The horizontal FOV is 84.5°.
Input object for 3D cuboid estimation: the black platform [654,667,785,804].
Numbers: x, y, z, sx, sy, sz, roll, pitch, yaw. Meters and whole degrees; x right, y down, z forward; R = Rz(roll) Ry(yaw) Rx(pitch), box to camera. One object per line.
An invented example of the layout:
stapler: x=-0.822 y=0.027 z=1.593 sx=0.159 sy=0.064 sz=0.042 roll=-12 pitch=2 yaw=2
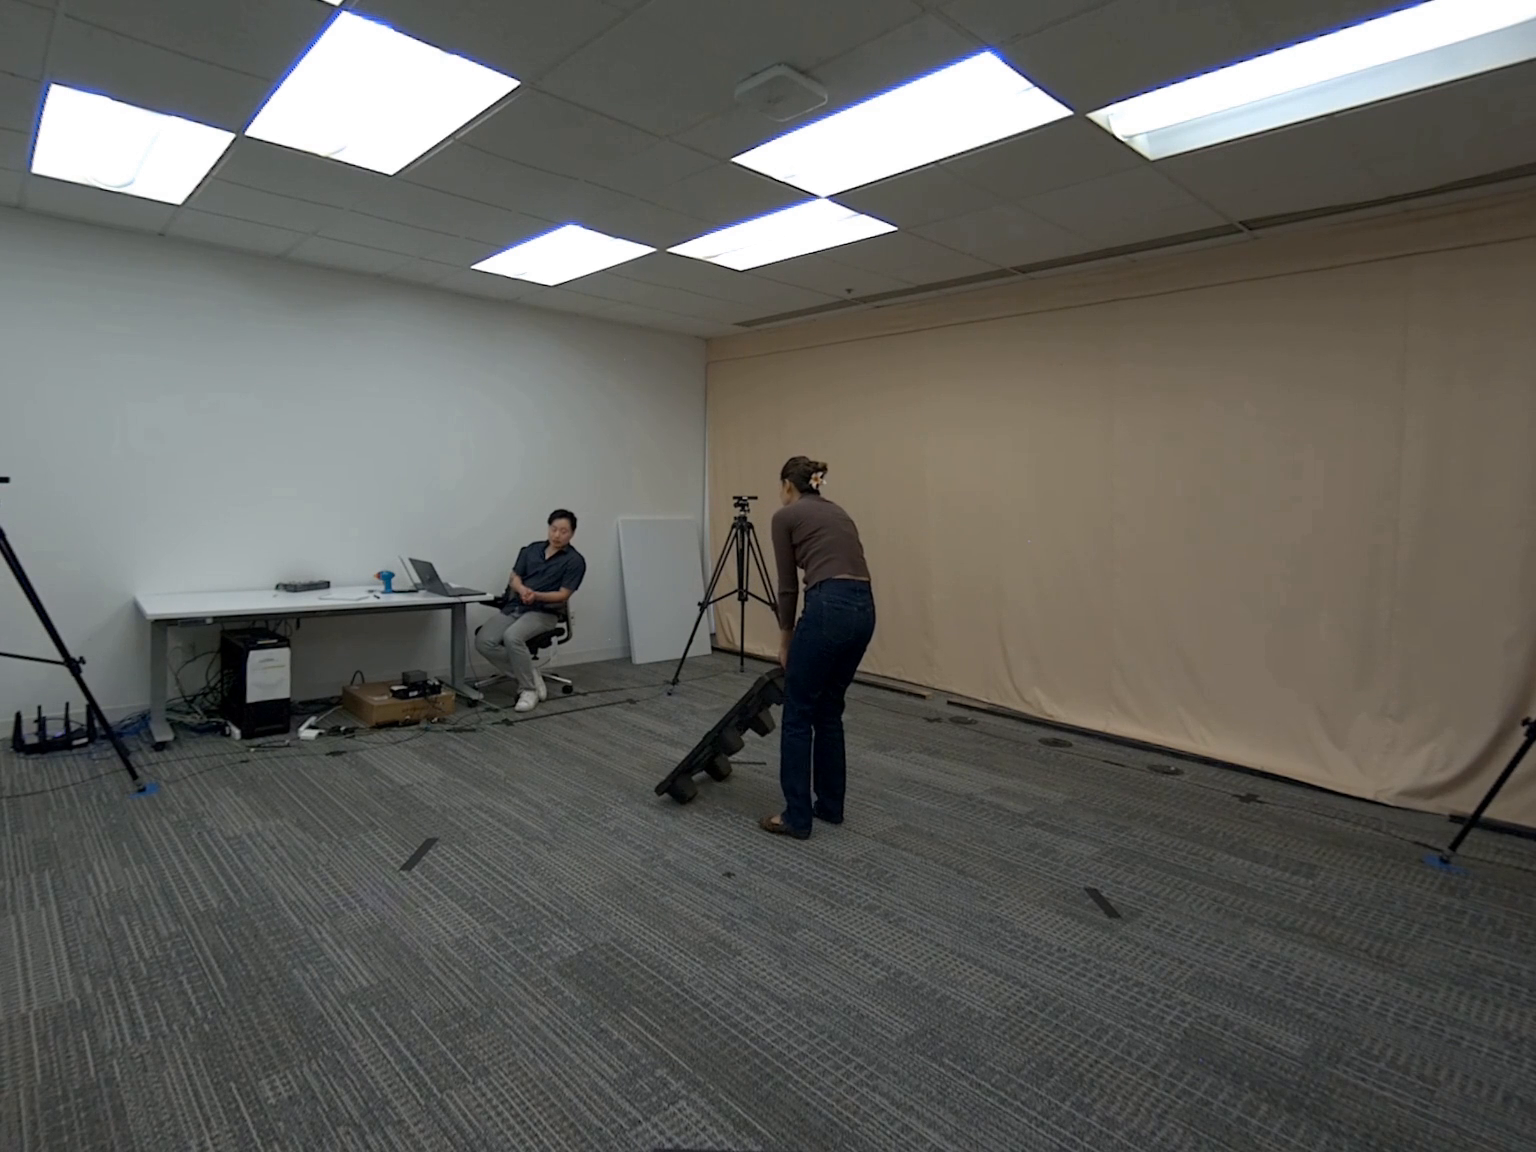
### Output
black platform: x=-0.120 y=0.712 z=3.911 sx=0.146 sy=0.805 sz=0.596 roll=46 pitch=18 yaw=13
